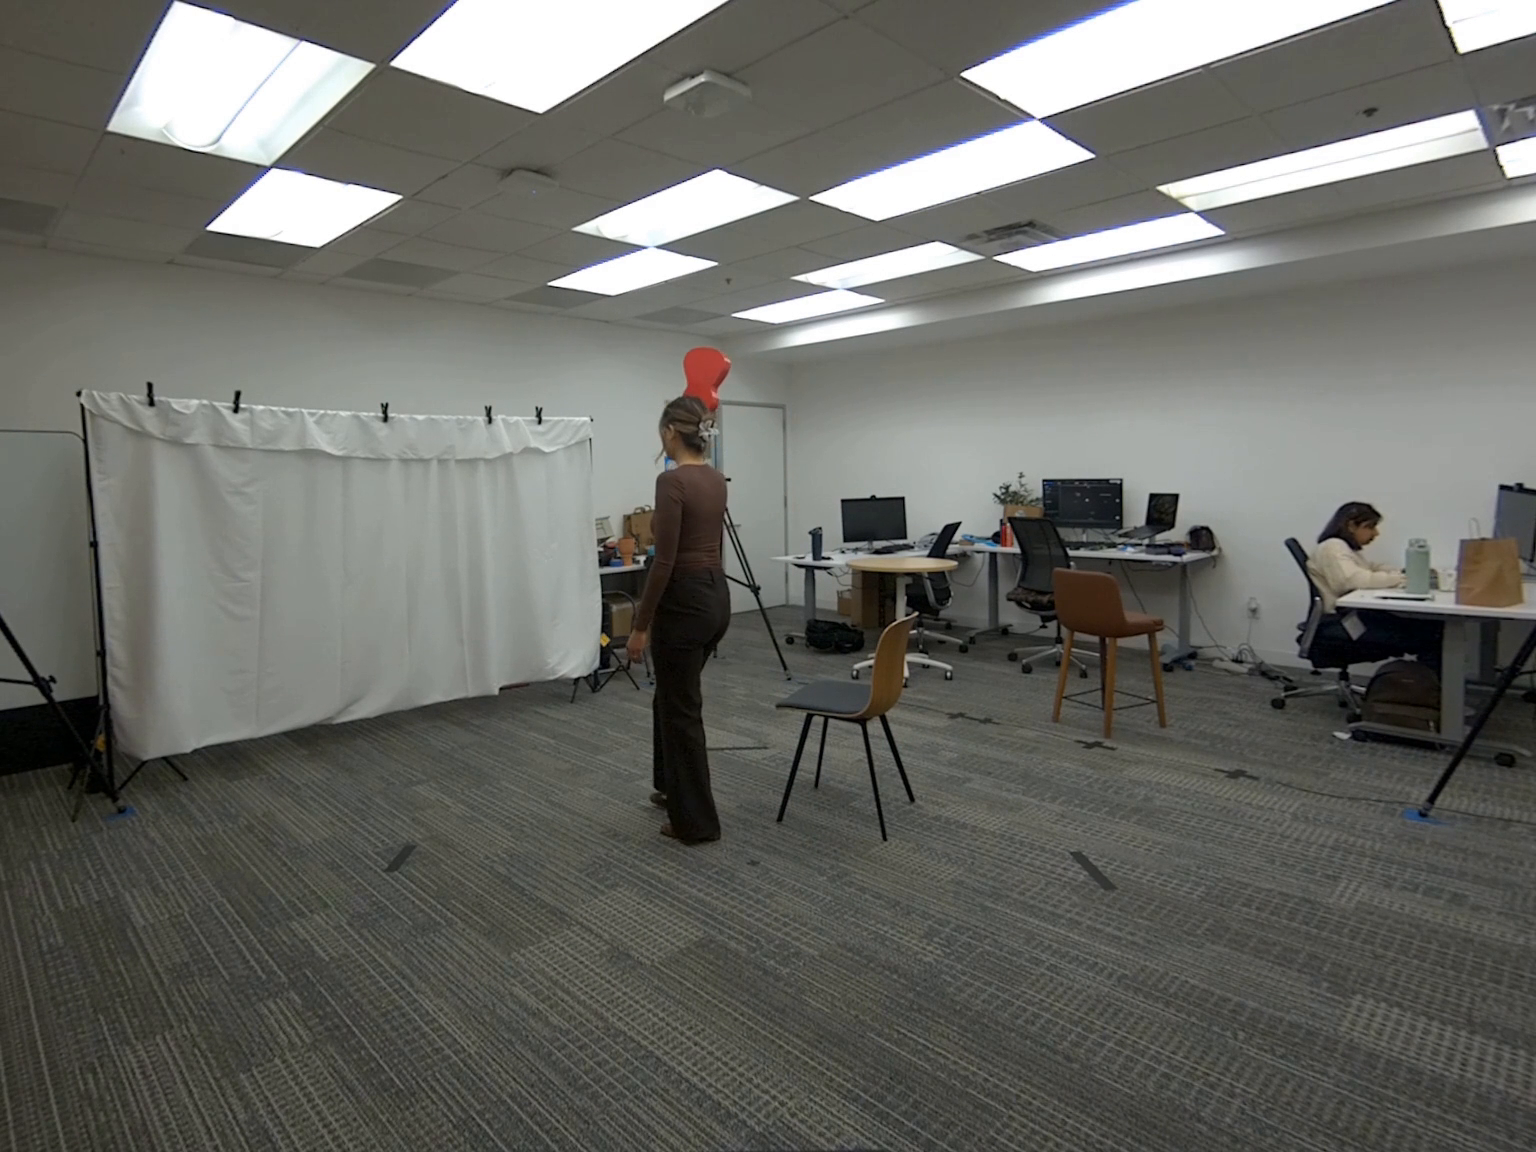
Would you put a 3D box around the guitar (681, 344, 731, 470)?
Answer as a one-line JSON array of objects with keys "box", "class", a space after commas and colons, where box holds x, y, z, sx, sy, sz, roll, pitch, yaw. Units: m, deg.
[{"box": [-0.259, -0.689, 3.528, 0.198, 0.498, 0.069, 0, 0, 27], "class": "guitar"}]
